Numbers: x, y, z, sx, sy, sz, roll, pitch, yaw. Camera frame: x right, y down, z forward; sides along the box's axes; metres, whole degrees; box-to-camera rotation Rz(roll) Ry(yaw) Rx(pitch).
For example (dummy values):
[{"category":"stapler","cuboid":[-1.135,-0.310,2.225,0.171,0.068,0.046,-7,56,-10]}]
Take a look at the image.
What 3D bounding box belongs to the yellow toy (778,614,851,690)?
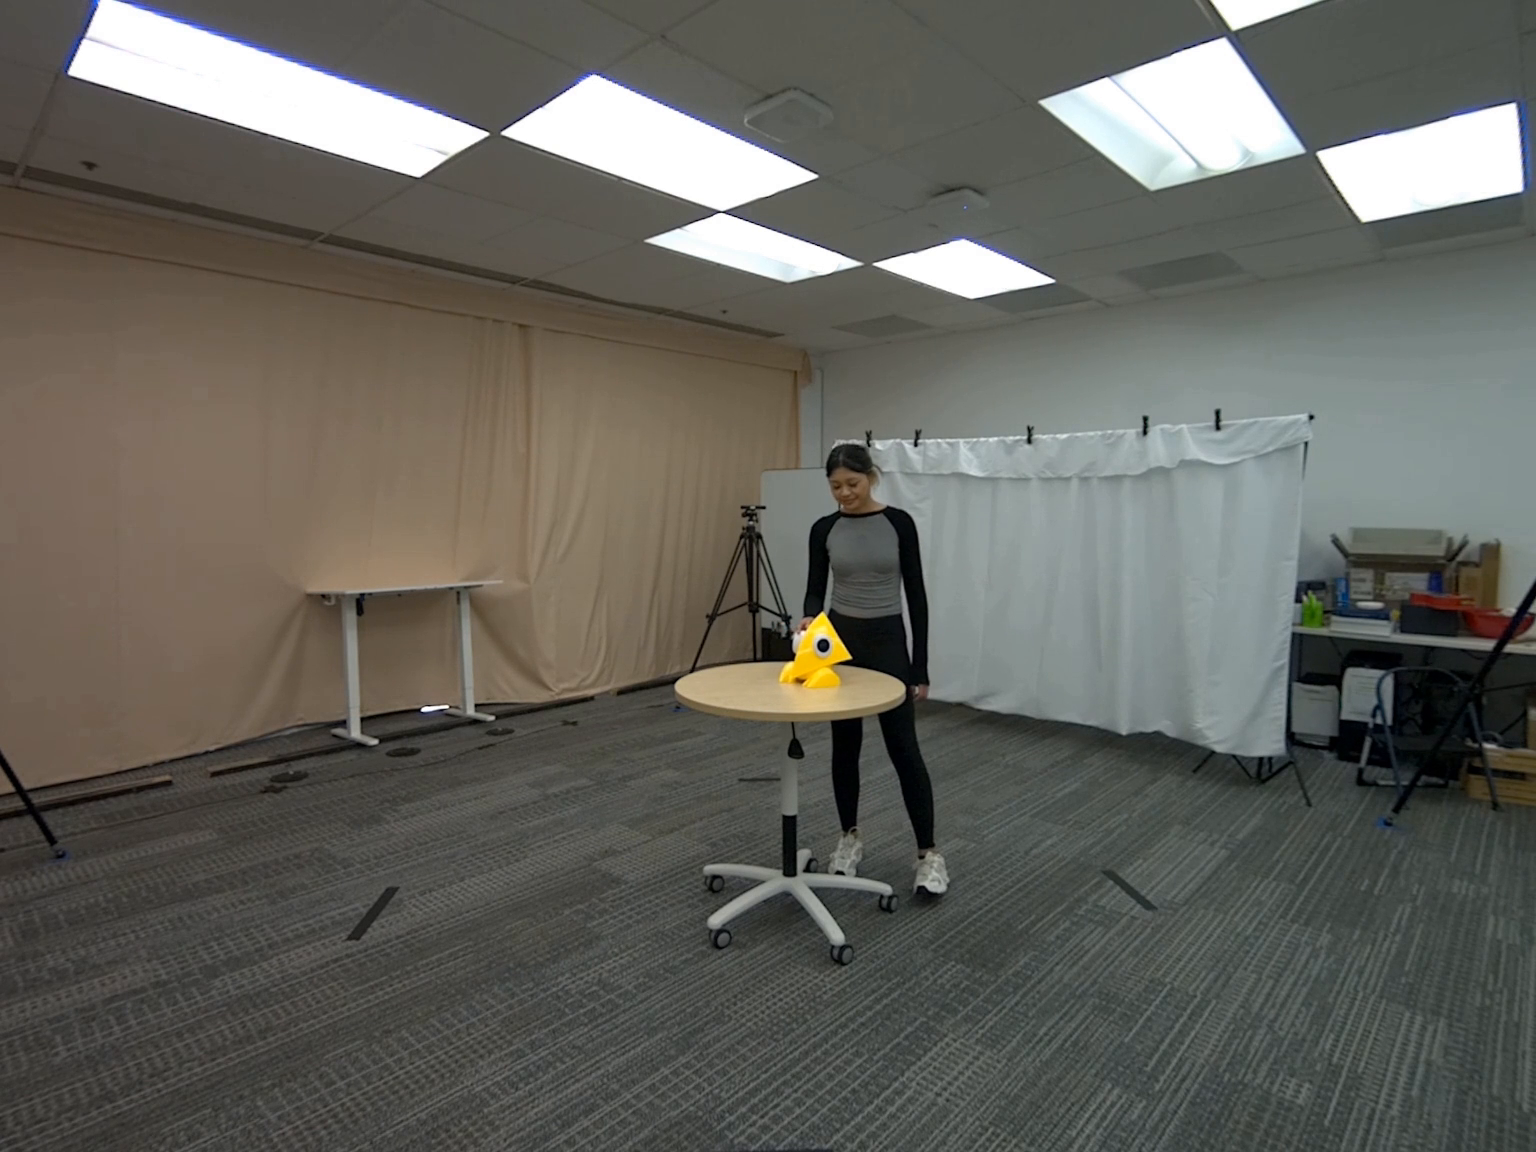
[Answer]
[{"category":"yellow toy","cuboid":[0.151,0.246,2.859,0.187,0.230,0.212,-4,6,-44]}]
